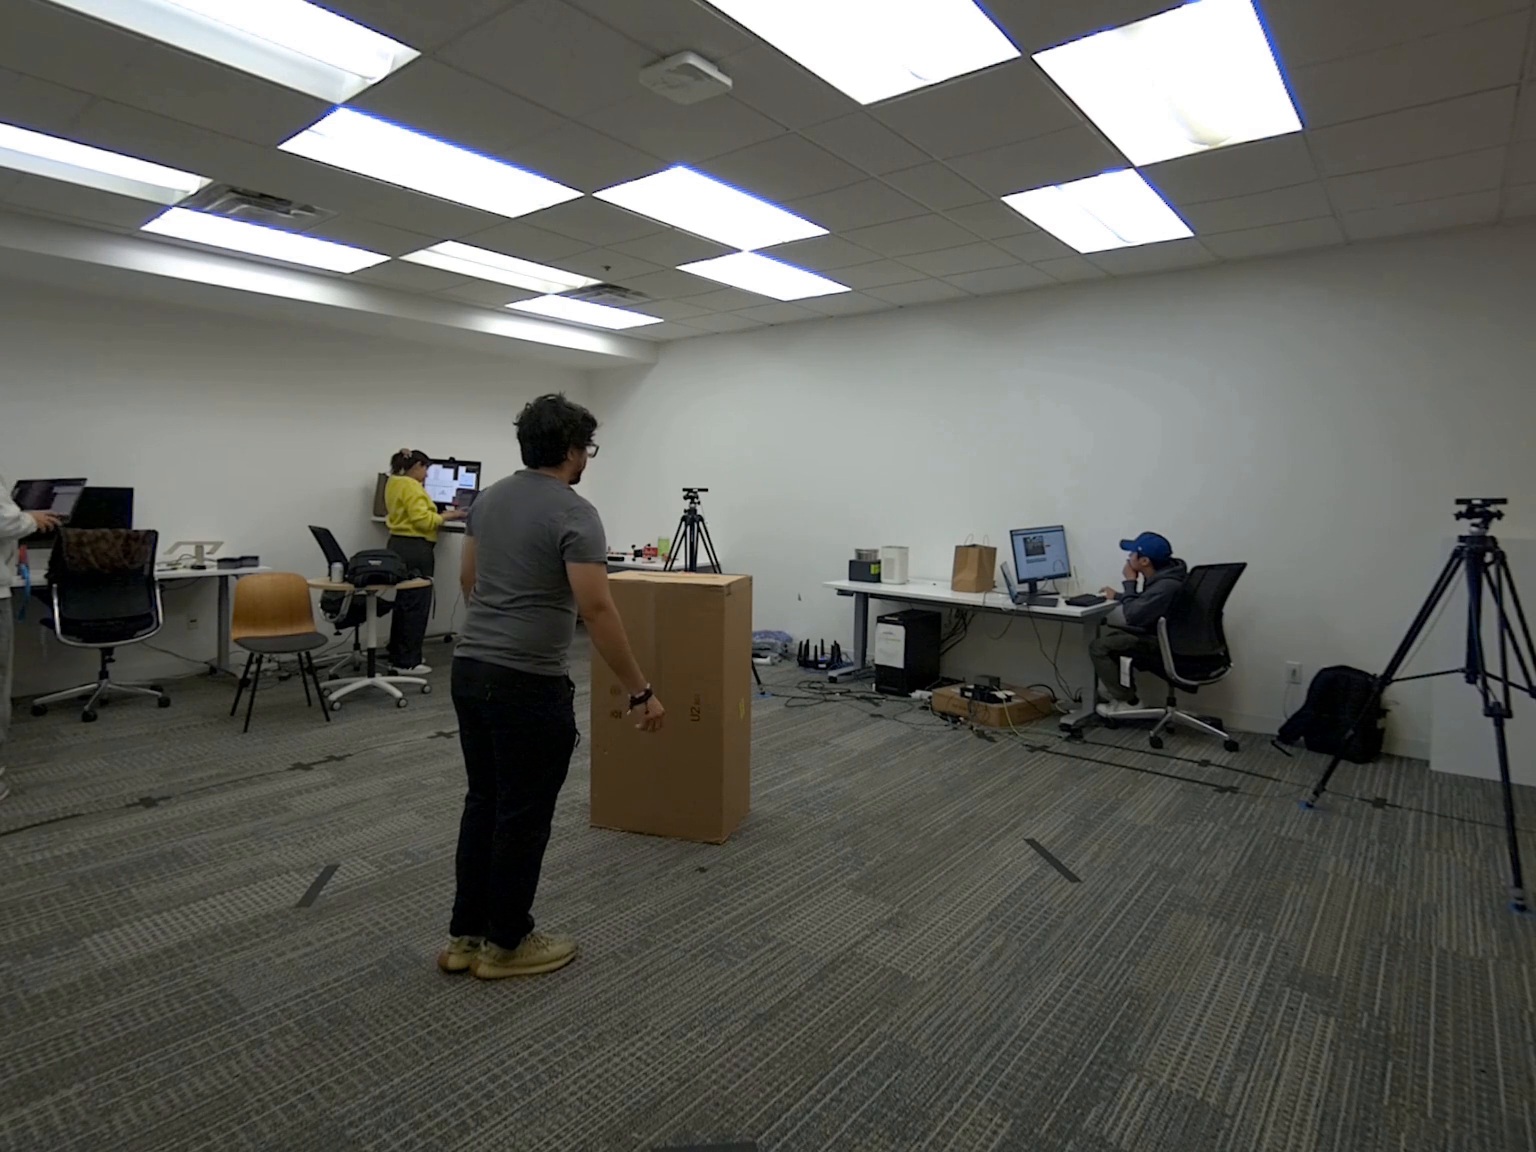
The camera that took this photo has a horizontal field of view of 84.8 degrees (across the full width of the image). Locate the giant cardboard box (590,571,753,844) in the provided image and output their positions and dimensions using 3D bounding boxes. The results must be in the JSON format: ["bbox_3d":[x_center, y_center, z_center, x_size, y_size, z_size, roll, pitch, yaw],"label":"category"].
[{"bbox_3d":[-0.405,0.513,3.587,0.594,1.024,0.440,2,3,15],"label":"giant cardboard box"}]
